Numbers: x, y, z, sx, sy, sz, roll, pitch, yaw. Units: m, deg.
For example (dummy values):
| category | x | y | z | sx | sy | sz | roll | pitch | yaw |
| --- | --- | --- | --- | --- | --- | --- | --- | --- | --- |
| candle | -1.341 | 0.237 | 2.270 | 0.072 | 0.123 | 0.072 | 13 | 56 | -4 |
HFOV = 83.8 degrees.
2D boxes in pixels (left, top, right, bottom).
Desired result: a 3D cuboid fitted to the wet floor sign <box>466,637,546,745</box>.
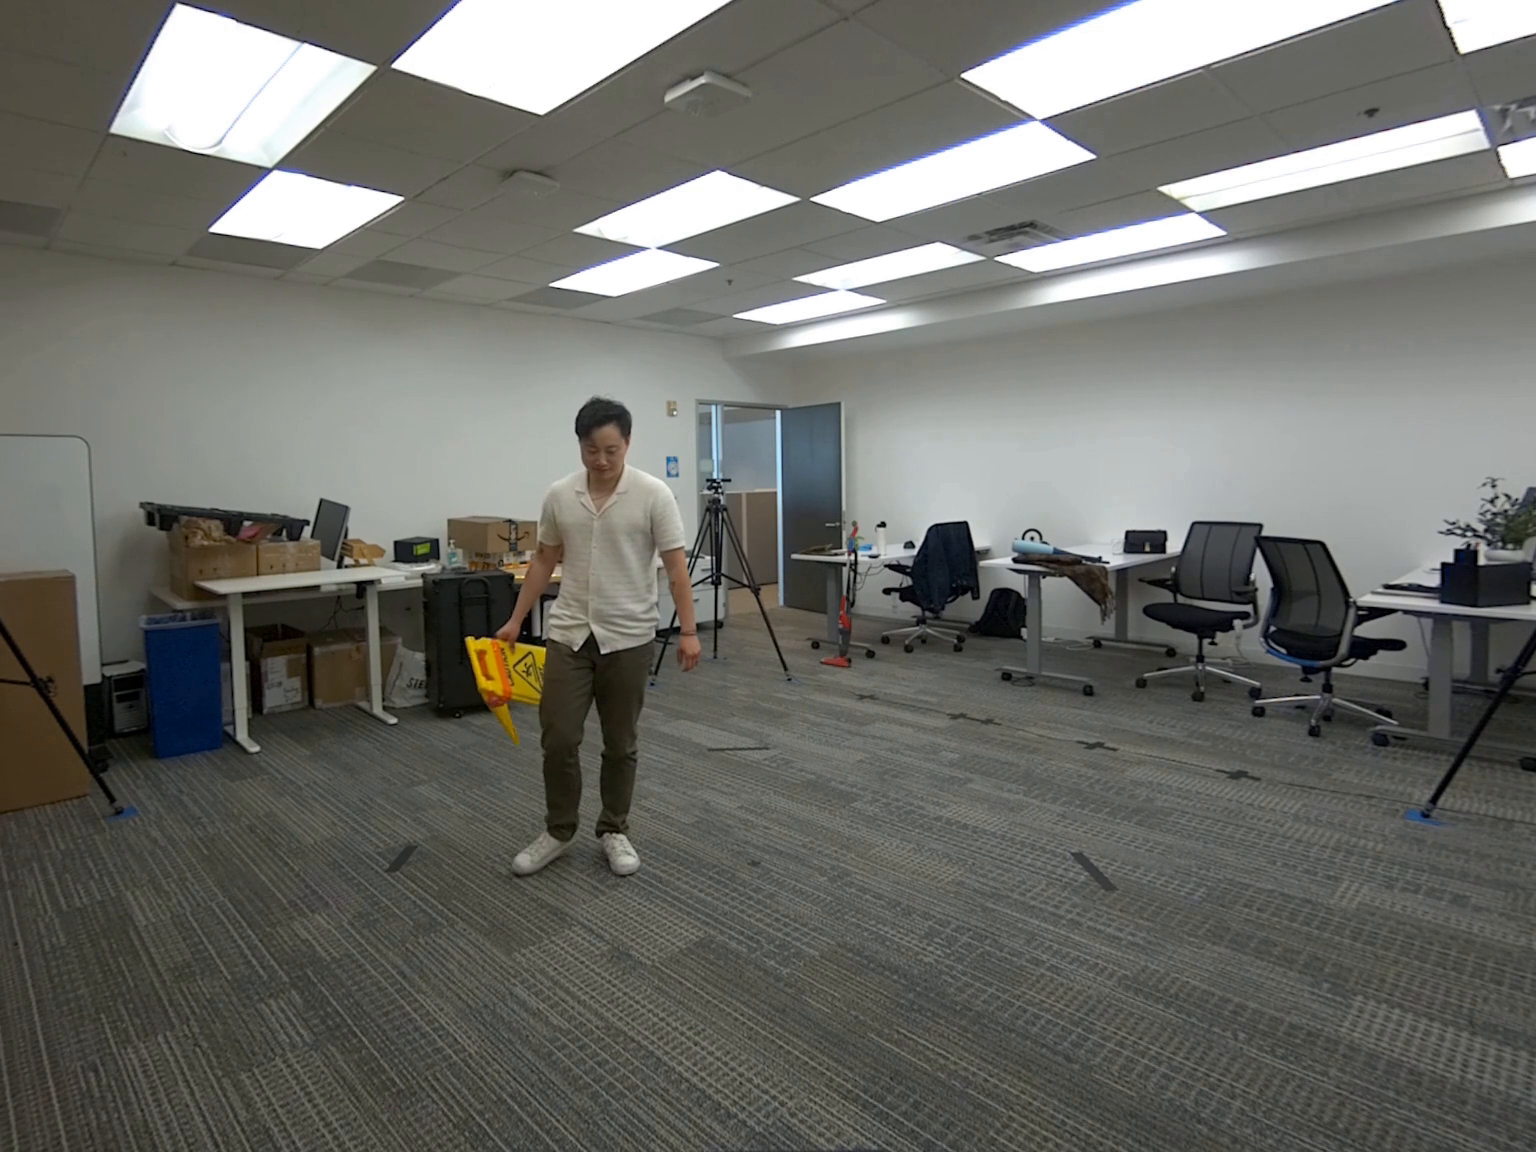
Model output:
| category | x | y | z | sx | sy | sz | roll | pitch | yaw |
| --- | --- | --- | --- | --- | --- | --- | --- | --- | --- |
| wet floor sign | -0.950 | 0.392 | 3.176 | 0.290 | 0.289 | 0.630 | -23 | -21 | -1 |
